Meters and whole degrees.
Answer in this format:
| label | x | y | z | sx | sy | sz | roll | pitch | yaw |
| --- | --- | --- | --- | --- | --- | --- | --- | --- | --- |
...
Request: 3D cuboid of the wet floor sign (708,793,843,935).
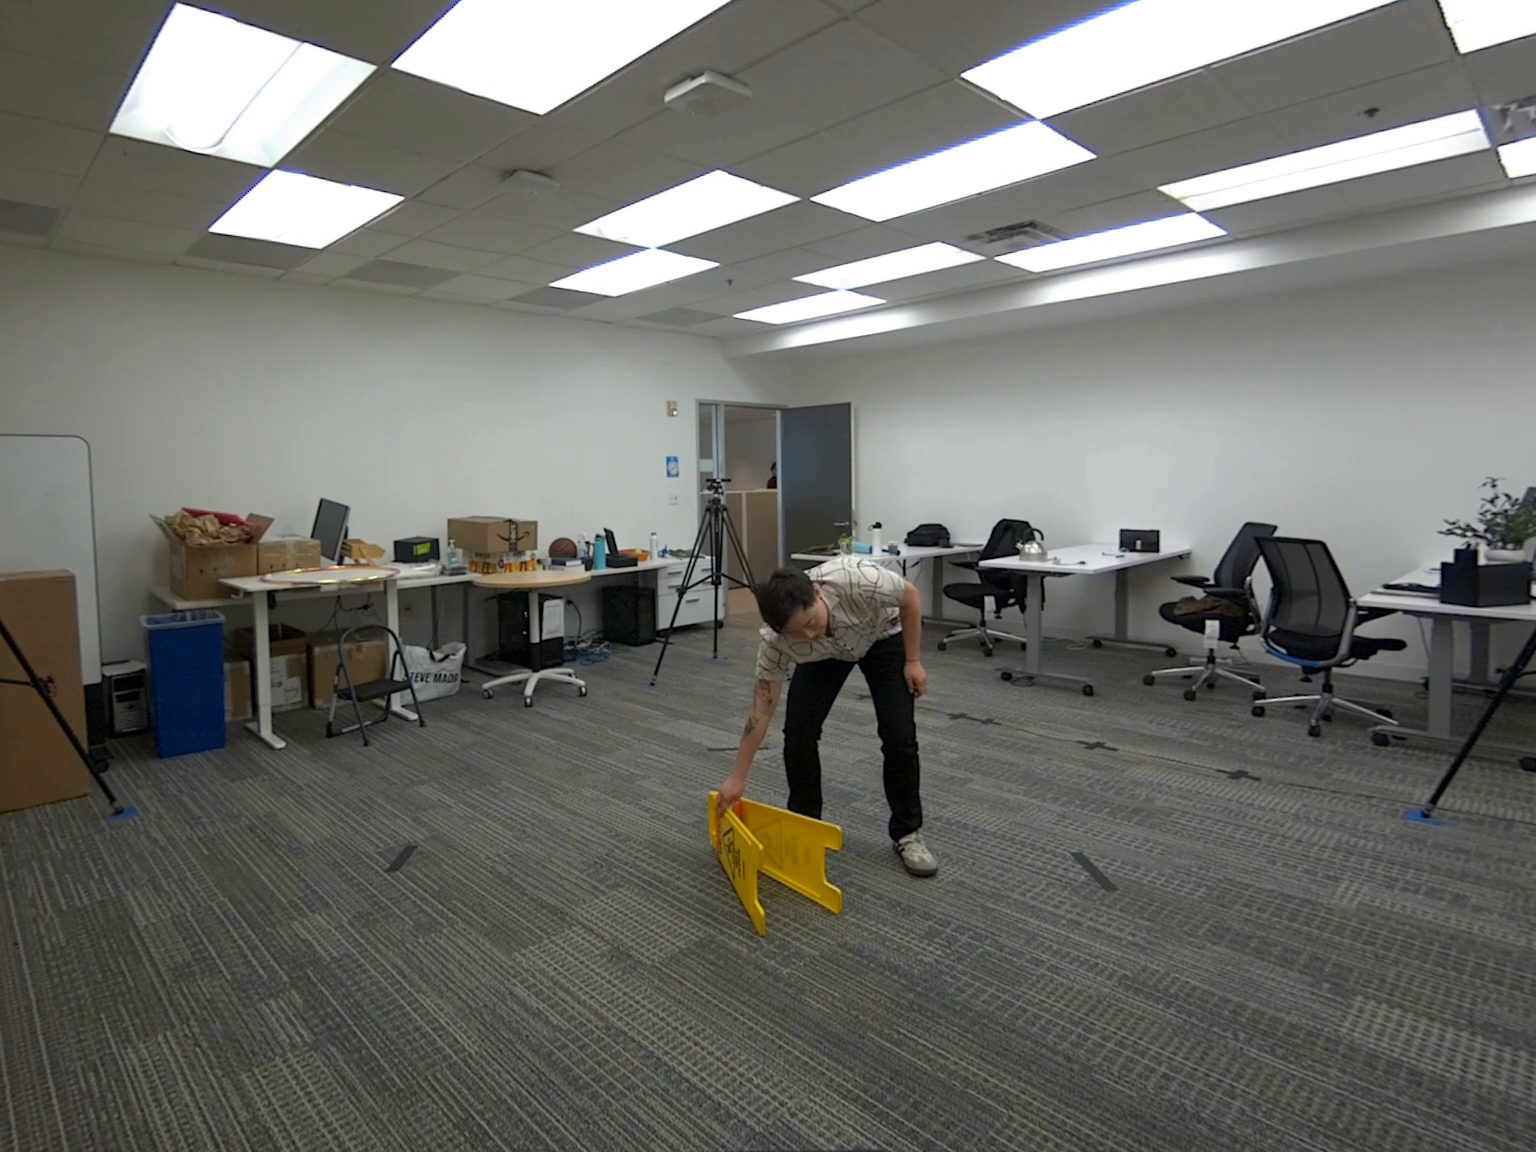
| label | x | y | z | sx | sy | sz | roll | pitch | yaw |
| --- | --- | --- | --- | --- | --- | --- | --- | --- | --- |
| wet floor sign | -0.053 | 0.932 | 2.947 | 0.283 | 0.281 | 0.663 | -3 | 5 | -29 |
